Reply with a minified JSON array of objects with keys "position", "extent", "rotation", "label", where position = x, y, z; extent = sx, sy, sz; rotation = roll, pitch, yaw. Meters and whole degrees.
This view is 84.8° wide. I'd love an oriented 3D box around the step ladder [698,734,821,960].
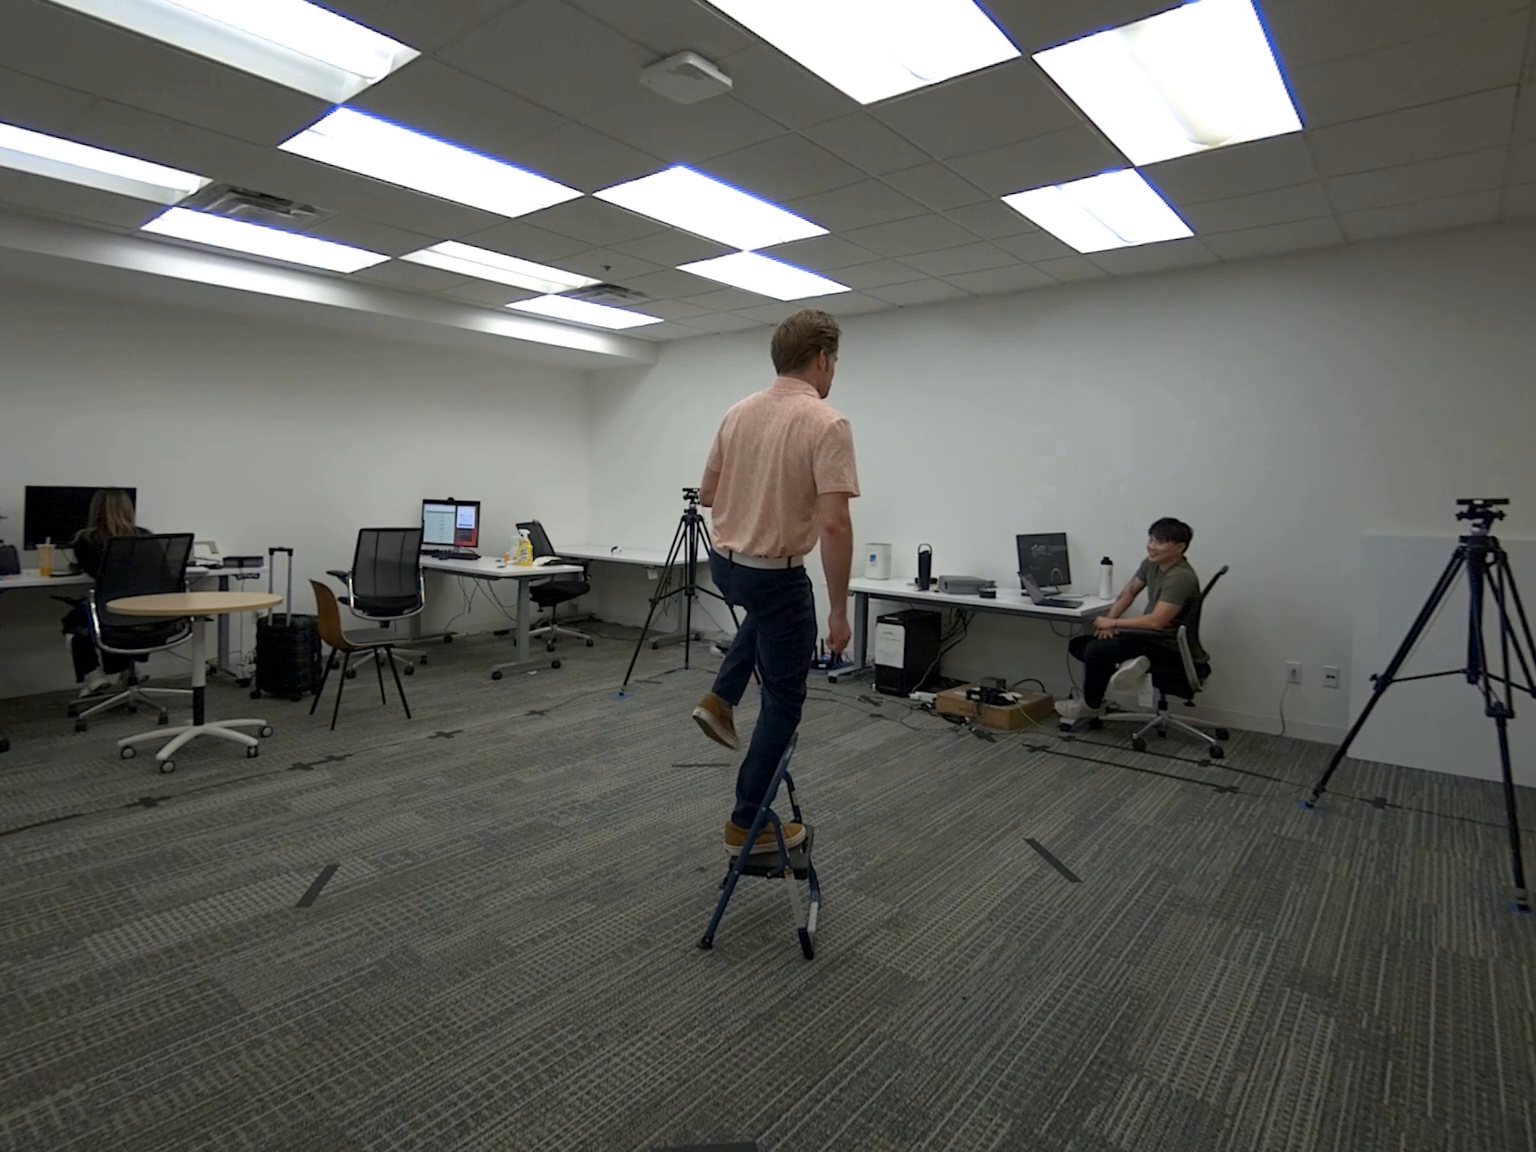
[{"position":[-0.013,0.812,2.731],"extent":[0.353,0.604,0.428],"rotation":[2,4,8],"label":"step ladder"}]
